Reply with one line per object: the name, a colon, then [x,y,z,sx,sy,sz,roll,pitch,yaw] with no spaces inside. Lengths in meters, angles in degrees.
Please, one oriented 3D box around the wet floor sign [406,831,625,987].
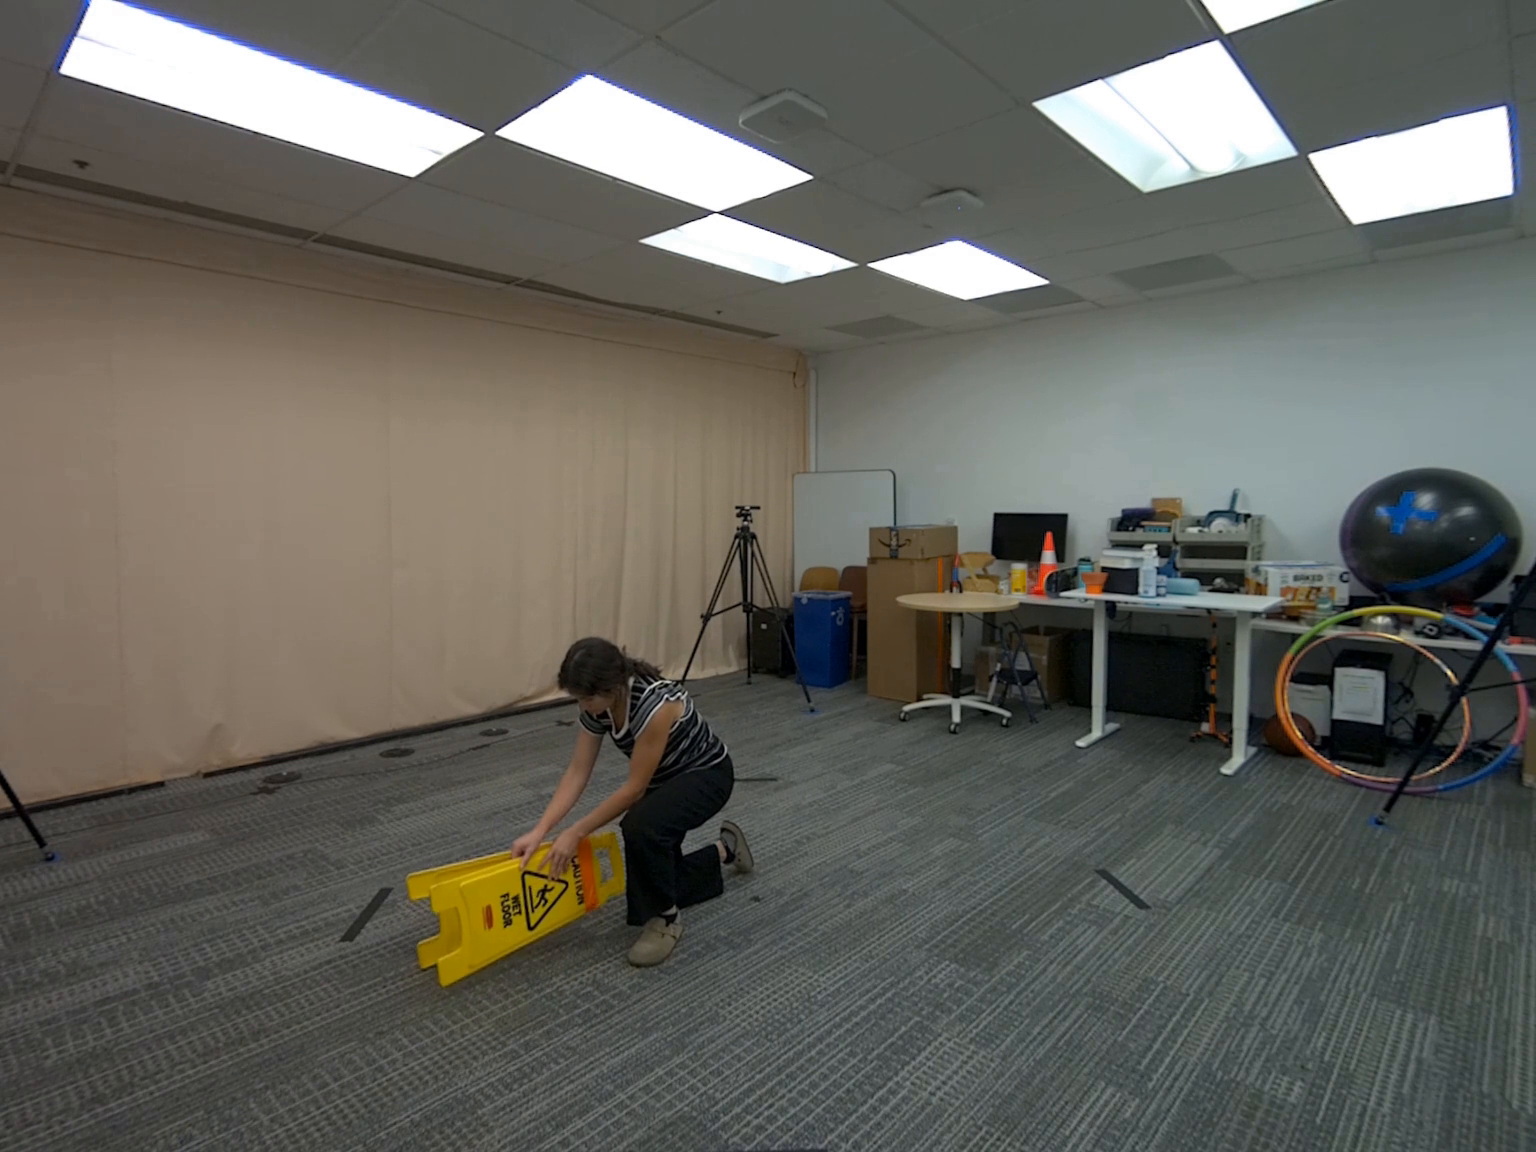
wet floor sign: [-0.752,0.990,2.613,0.628,0.283,0.297,-8,-4,-34]
